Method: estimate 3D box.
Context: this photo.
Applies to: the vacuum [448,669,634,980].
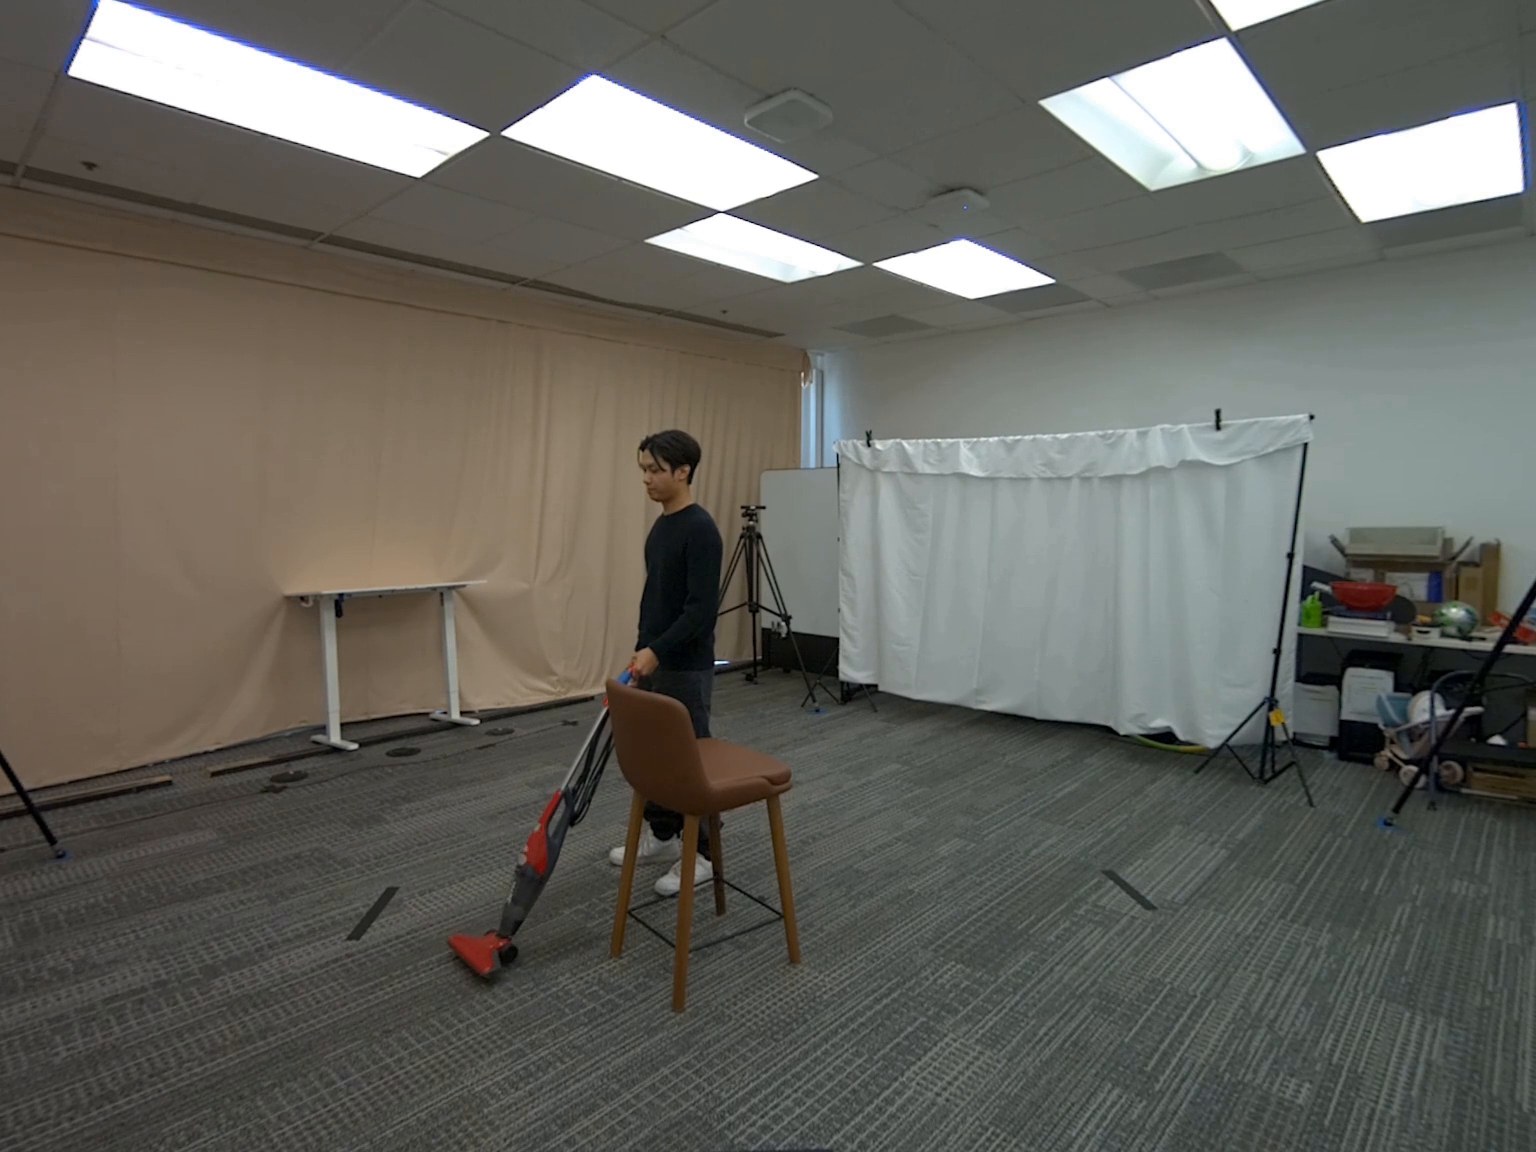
[{"bbox_3d":[-0.648,0.722,2.730,0.261,1.050,0.139,3,-31,49],"label":"vacuum"}]
